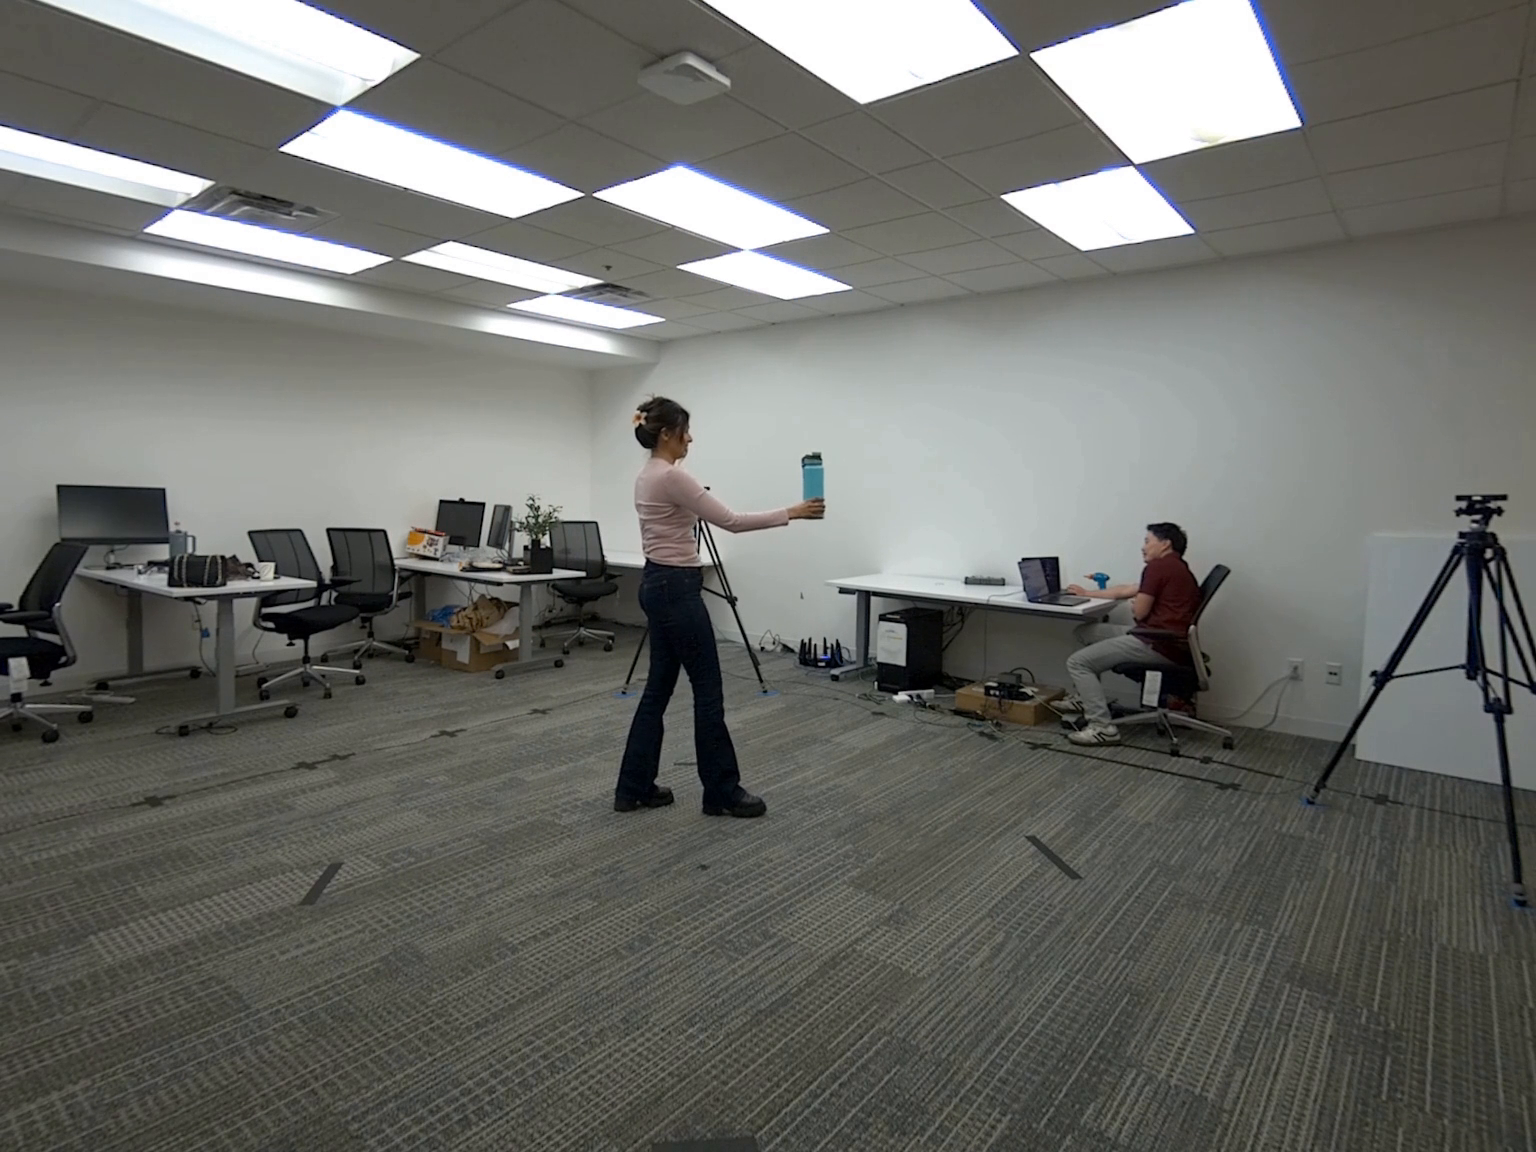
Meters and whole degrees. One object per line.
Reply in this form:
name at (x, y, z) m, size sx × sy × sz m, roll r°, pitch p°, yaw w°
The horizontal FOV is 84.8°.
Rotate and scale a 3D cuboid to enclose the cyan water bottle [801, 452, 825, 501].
cyan water bottle at (0.183, -0.390, 3.598) m, size 0.092 × 0.282 × 0.093 m, roll -4°, pitch 5°, yaw -1°
